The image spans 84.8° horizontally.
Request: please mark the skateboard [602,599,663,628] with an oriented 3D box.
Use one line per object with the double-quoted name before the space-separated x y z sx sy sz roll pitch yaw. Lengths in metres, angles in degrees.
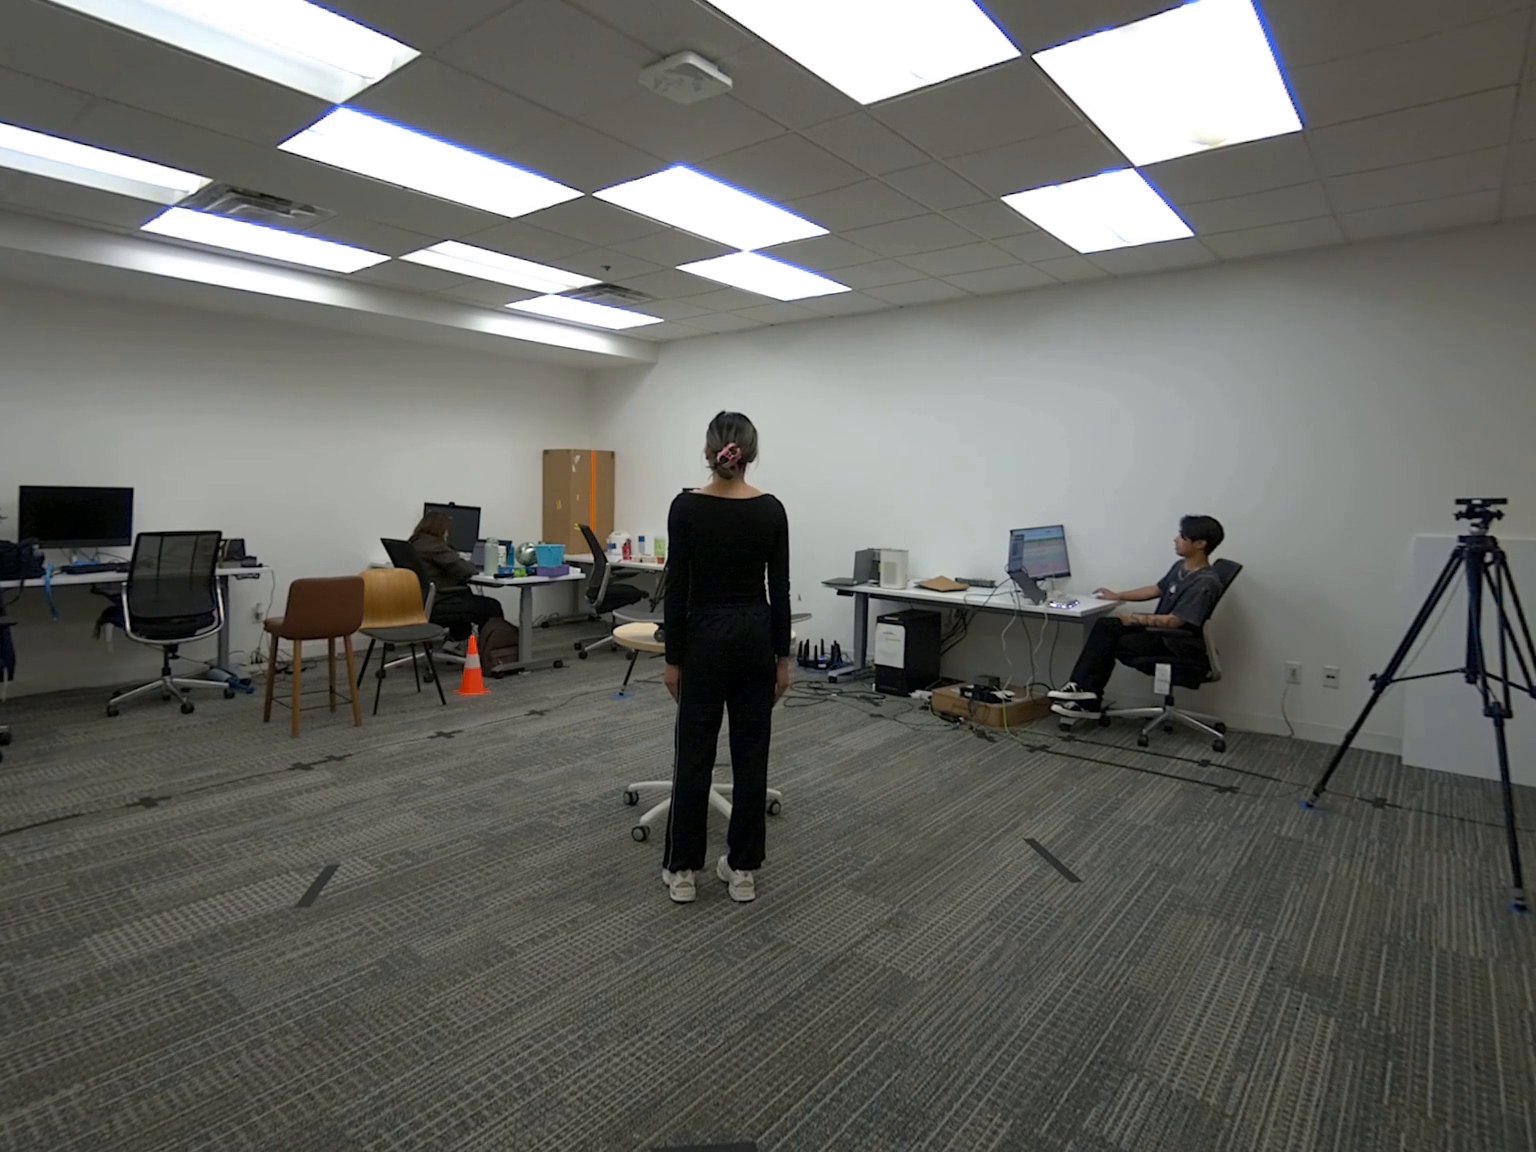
"skateboard" -0.222 0.199 3.364 0.788 0.110 0.193 2 4 2
